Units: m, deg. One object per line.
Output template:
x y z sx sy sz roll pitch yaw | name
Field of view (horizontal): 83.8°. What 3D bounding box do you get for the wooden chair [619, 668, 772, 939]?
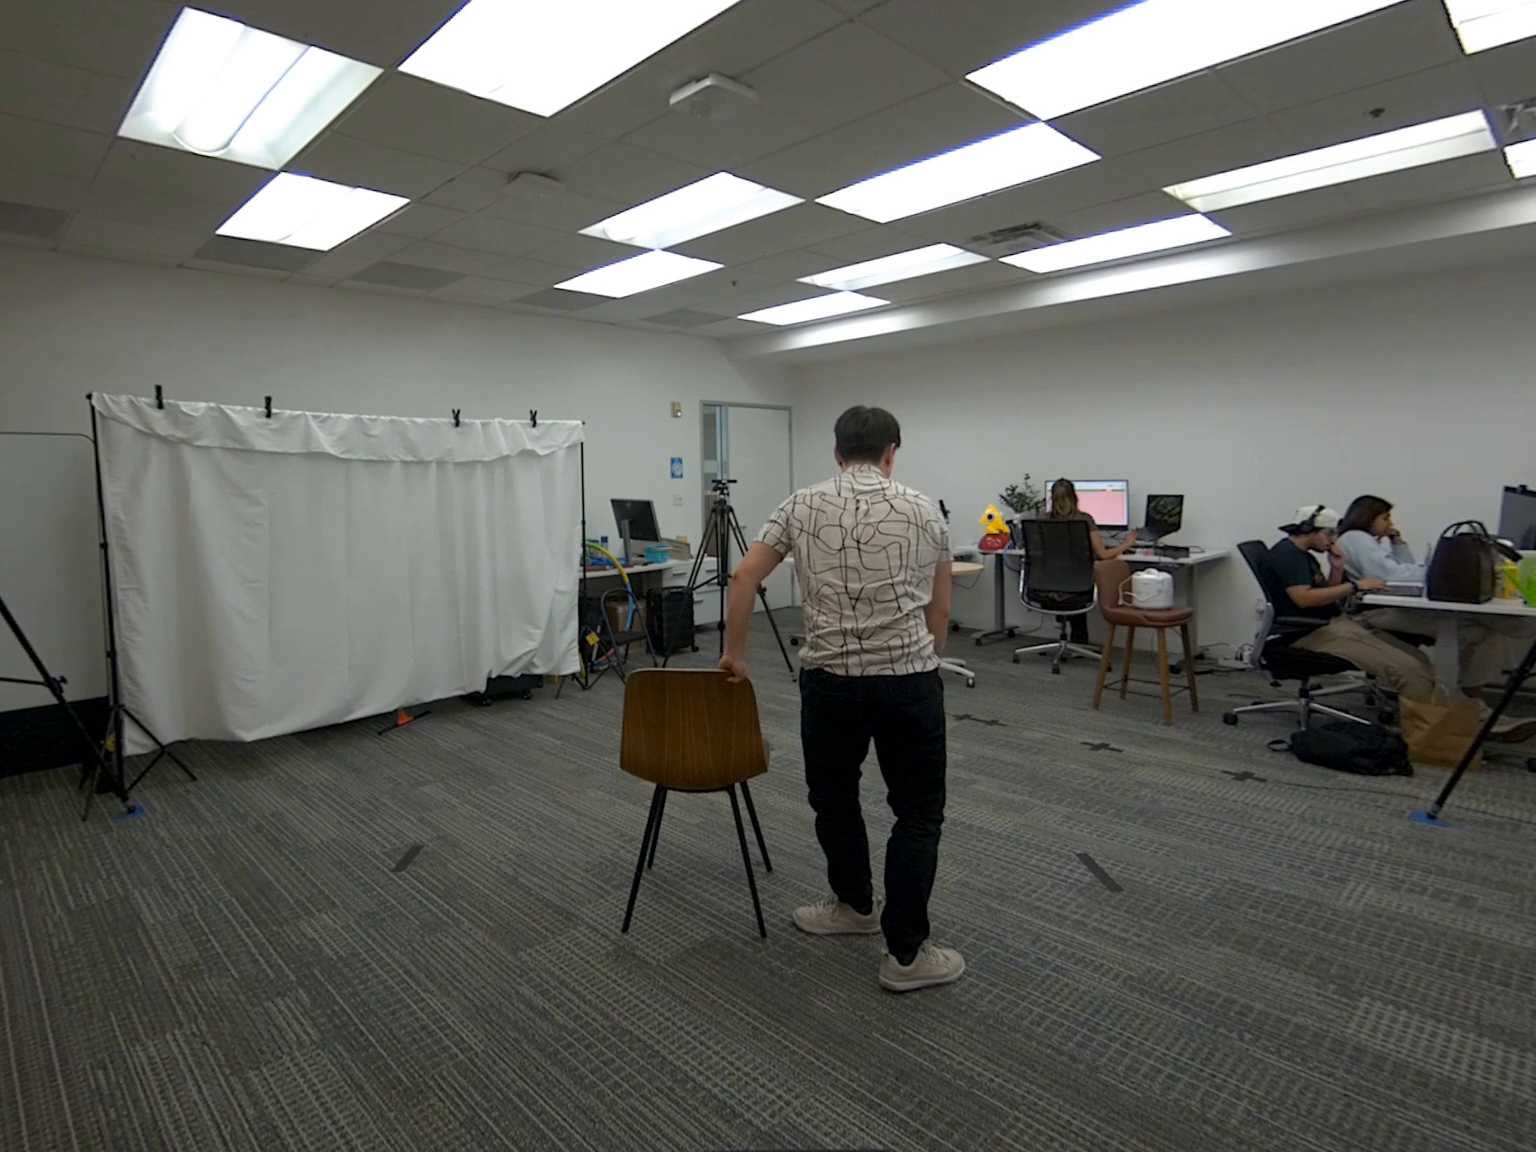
-0.228 0.656 2.826 0.480 0.870 0.525 -1 9 4 | wooden chair
